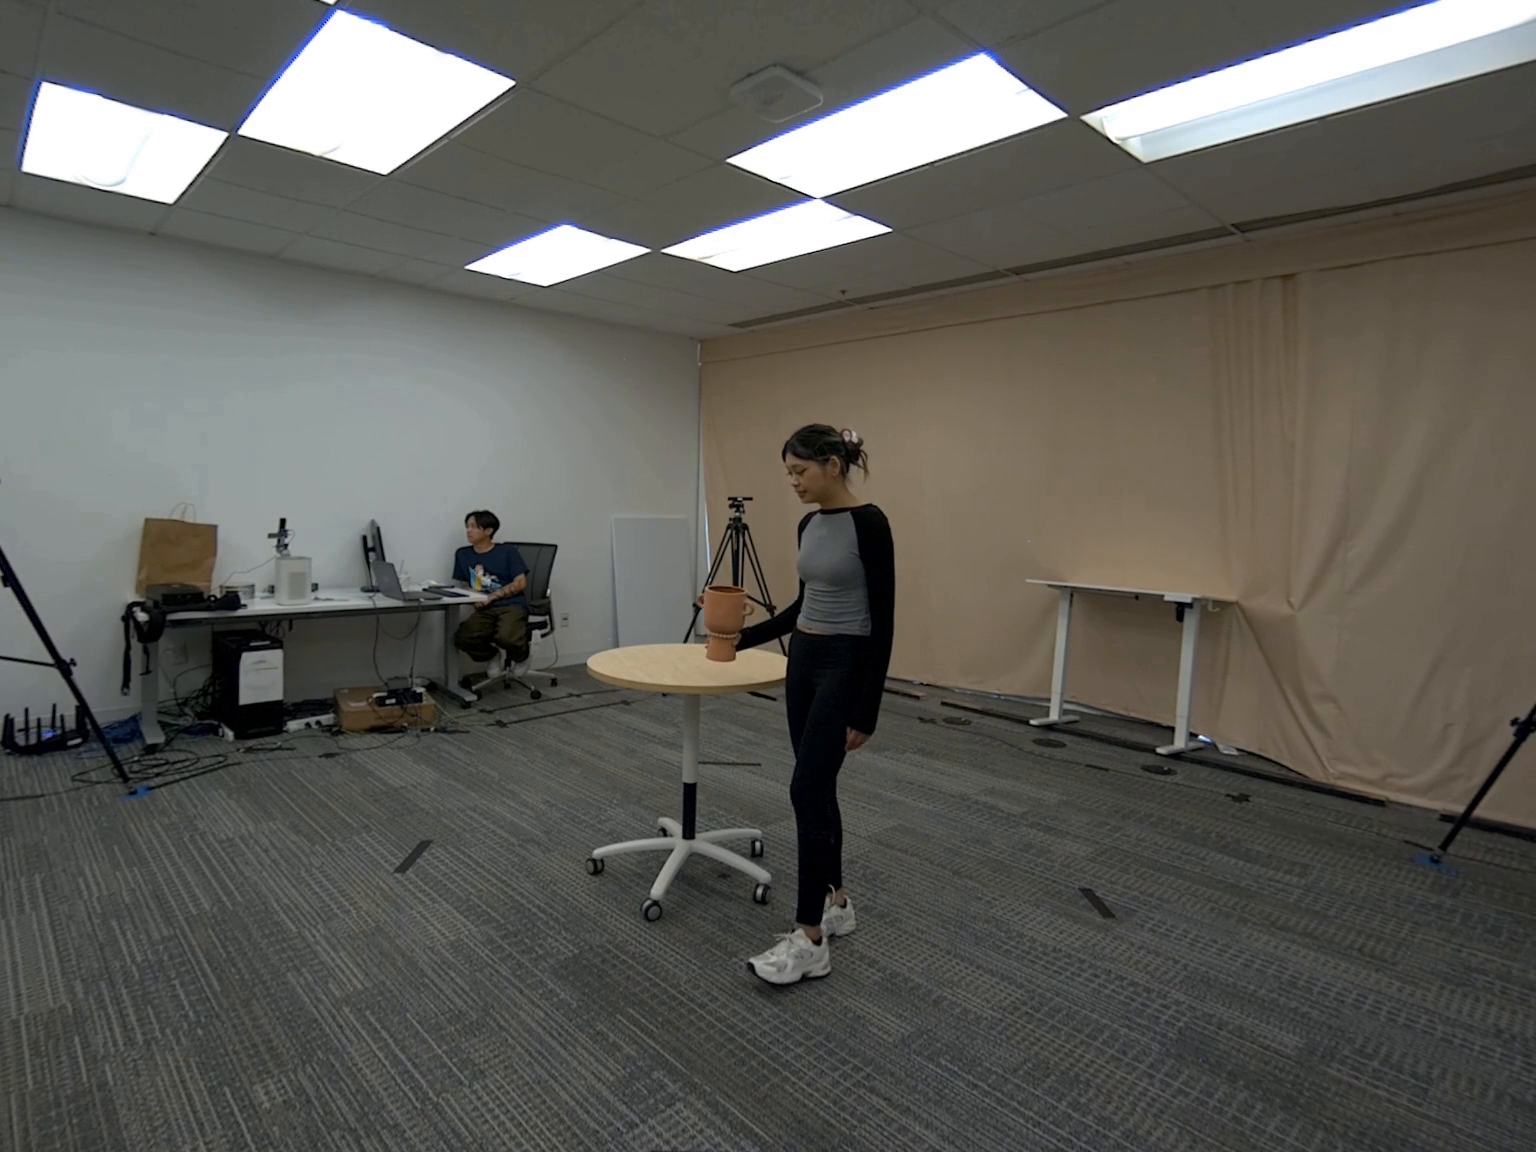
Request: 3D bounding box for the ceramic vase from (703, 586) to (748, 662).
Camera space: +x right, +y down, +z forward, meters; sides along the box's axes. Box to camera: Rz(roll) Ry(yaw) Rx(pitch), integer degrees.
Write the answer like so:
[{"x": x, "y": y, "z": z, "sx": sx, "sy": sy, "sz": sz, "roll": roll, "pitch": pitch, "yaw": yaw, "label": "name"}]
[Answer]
[{"x": -0.141, "y": 0.146, "z": 2.638, "sx": 0.132, "sy": 0.218, "sz": 0.163, "roll": 0, "pitch": 9, "yaw": -28, "label": "ceramic vase"}]
